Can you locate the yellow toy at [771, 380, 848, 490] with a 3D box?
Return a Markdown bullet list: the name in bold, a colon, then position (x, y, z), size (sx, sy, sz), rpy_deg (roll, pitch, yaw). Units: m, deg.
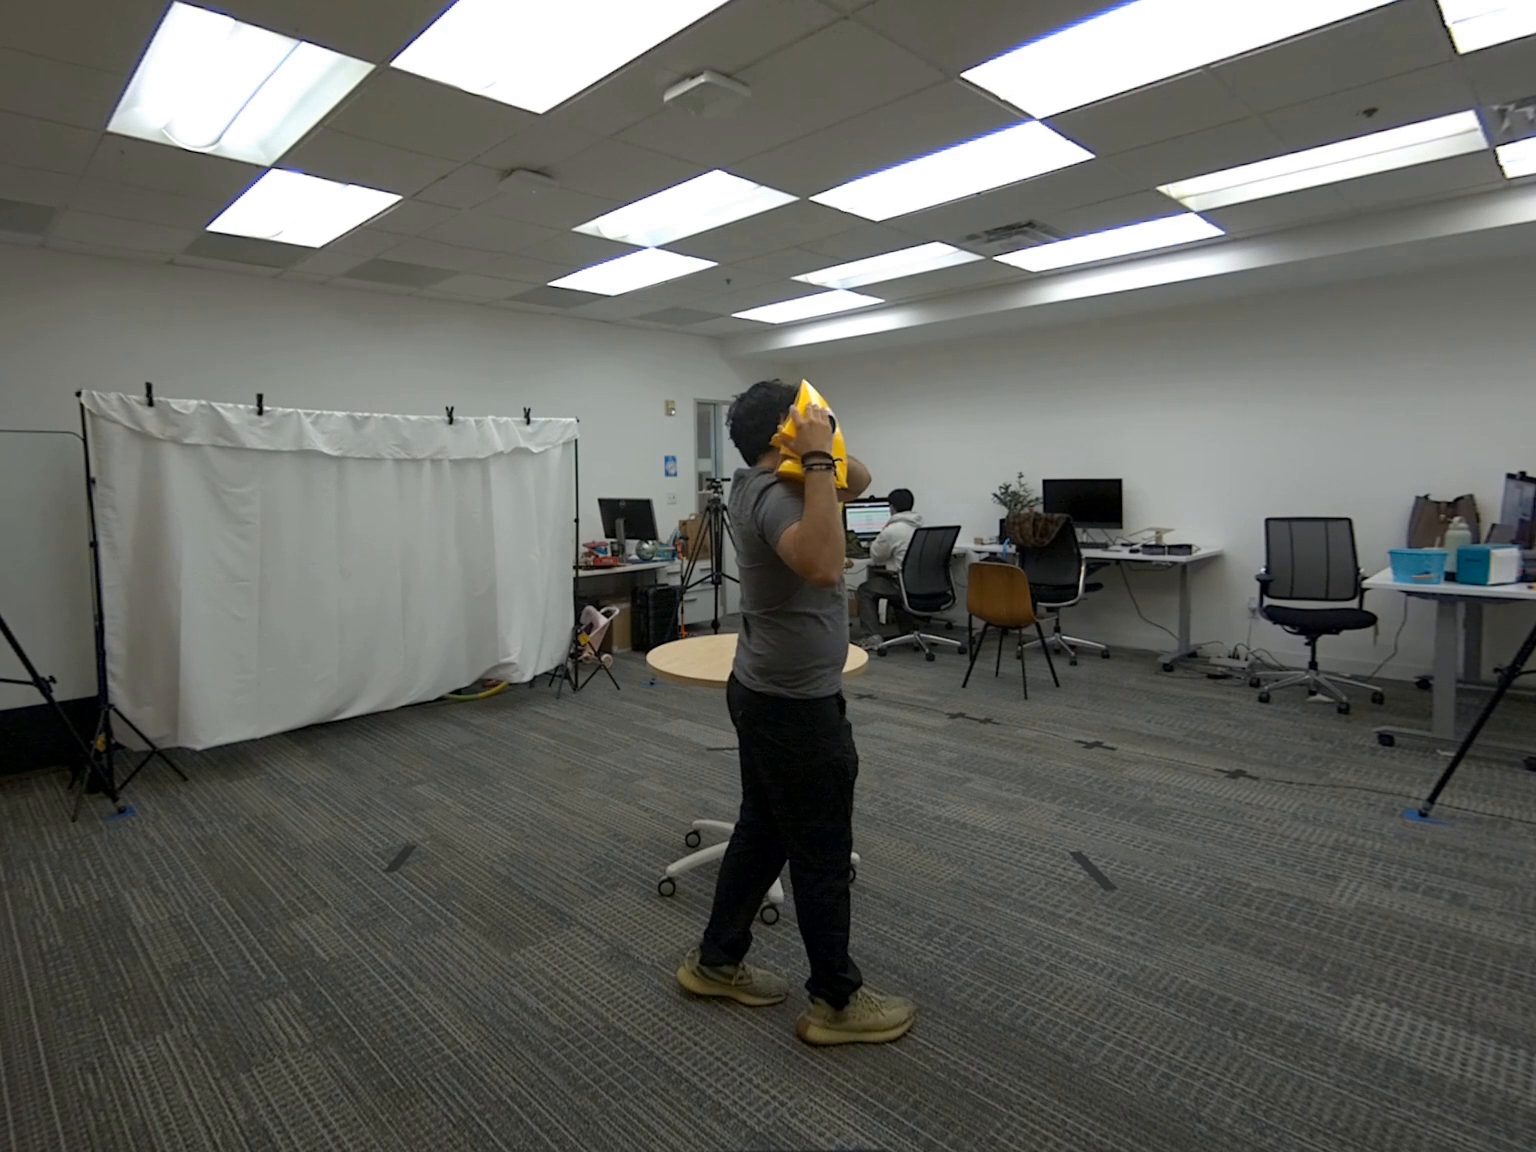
- **yellow toy**: position (0.118, -0.339, 2.009), size (0.192, 0.231, 0.205), rpy_deg (13, -2, -5)
